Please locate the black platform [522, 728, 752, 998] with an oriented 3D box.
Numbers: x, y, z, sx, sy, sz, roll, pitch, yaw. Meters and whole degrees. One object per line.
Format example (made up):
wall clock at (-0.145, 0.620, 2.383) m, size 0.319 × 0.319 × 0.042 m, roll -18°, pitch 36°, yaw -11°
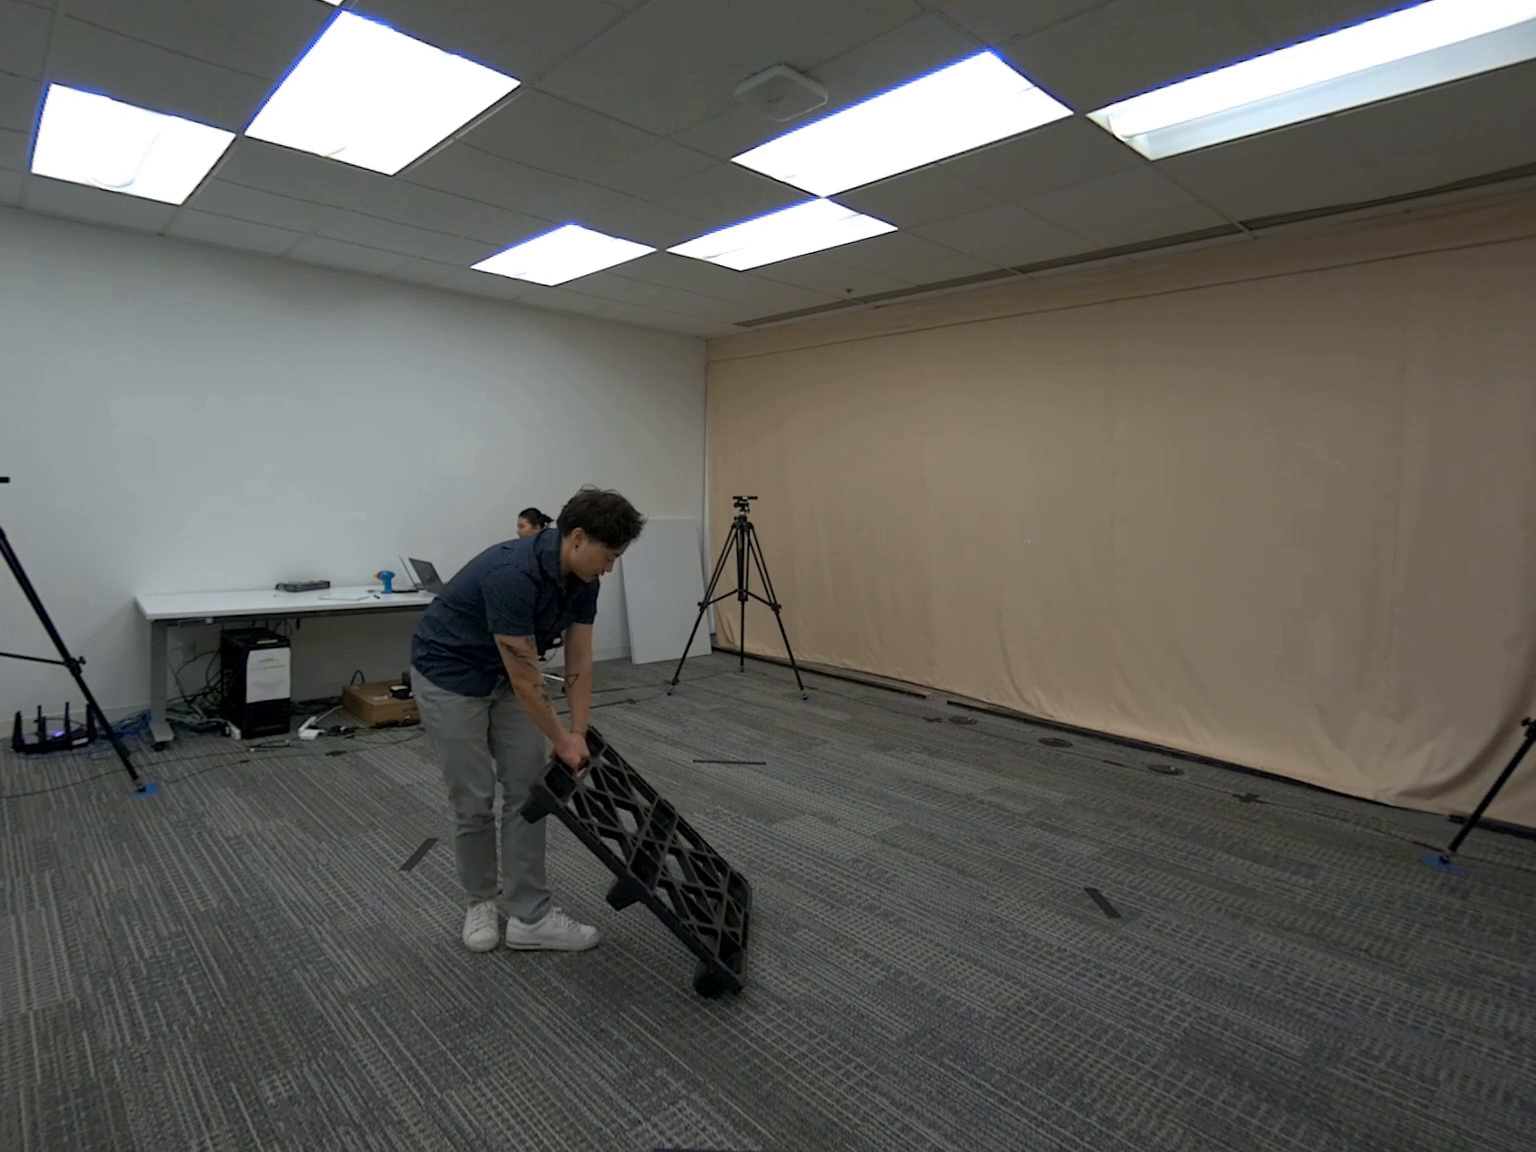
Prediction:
black platform at (-0.389, 0.844, 2.564) m, size 0.806 × 0.143 × 0.605 m, roll 45°, pitch 3°, yaw -1°
